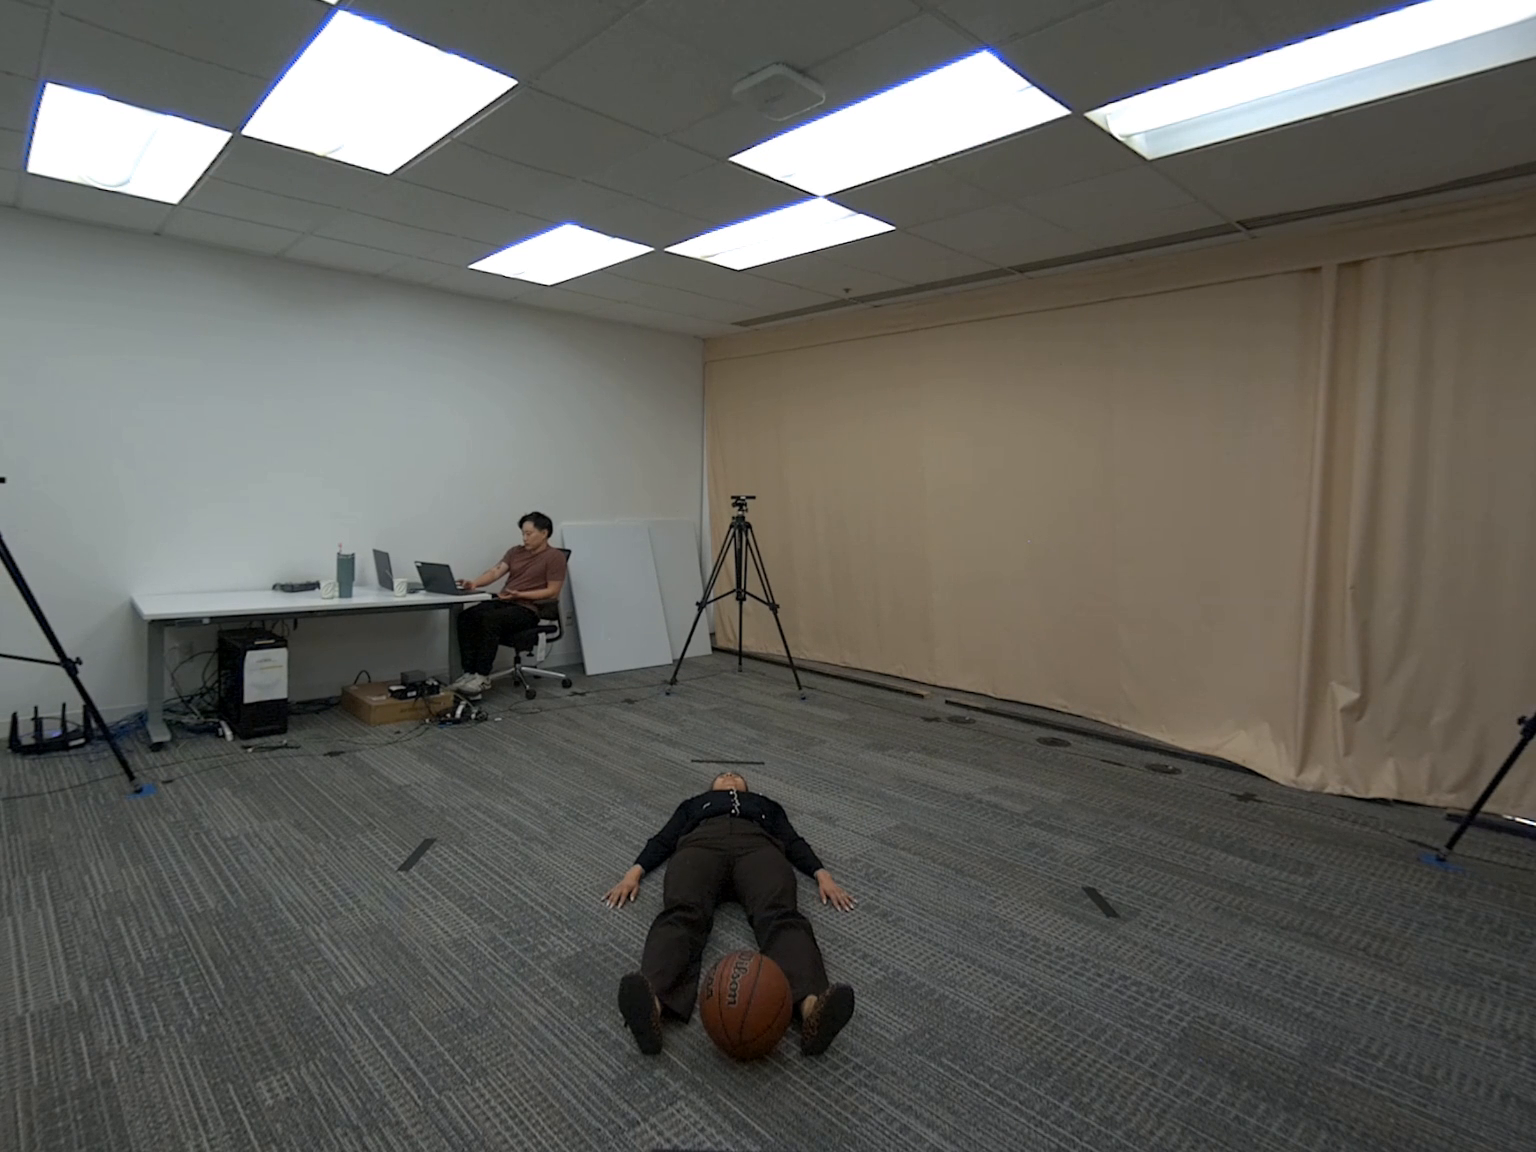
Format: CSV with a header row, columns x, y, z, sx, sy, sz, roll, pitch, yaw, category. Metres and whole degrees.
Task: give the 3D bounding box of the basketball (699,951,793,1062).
x,y,z,sx,sy,sz,roll,pitch,yaw,category
-0.064,1.083,2.120,0.235,0.235,0.237,4,5,-2,basketball
